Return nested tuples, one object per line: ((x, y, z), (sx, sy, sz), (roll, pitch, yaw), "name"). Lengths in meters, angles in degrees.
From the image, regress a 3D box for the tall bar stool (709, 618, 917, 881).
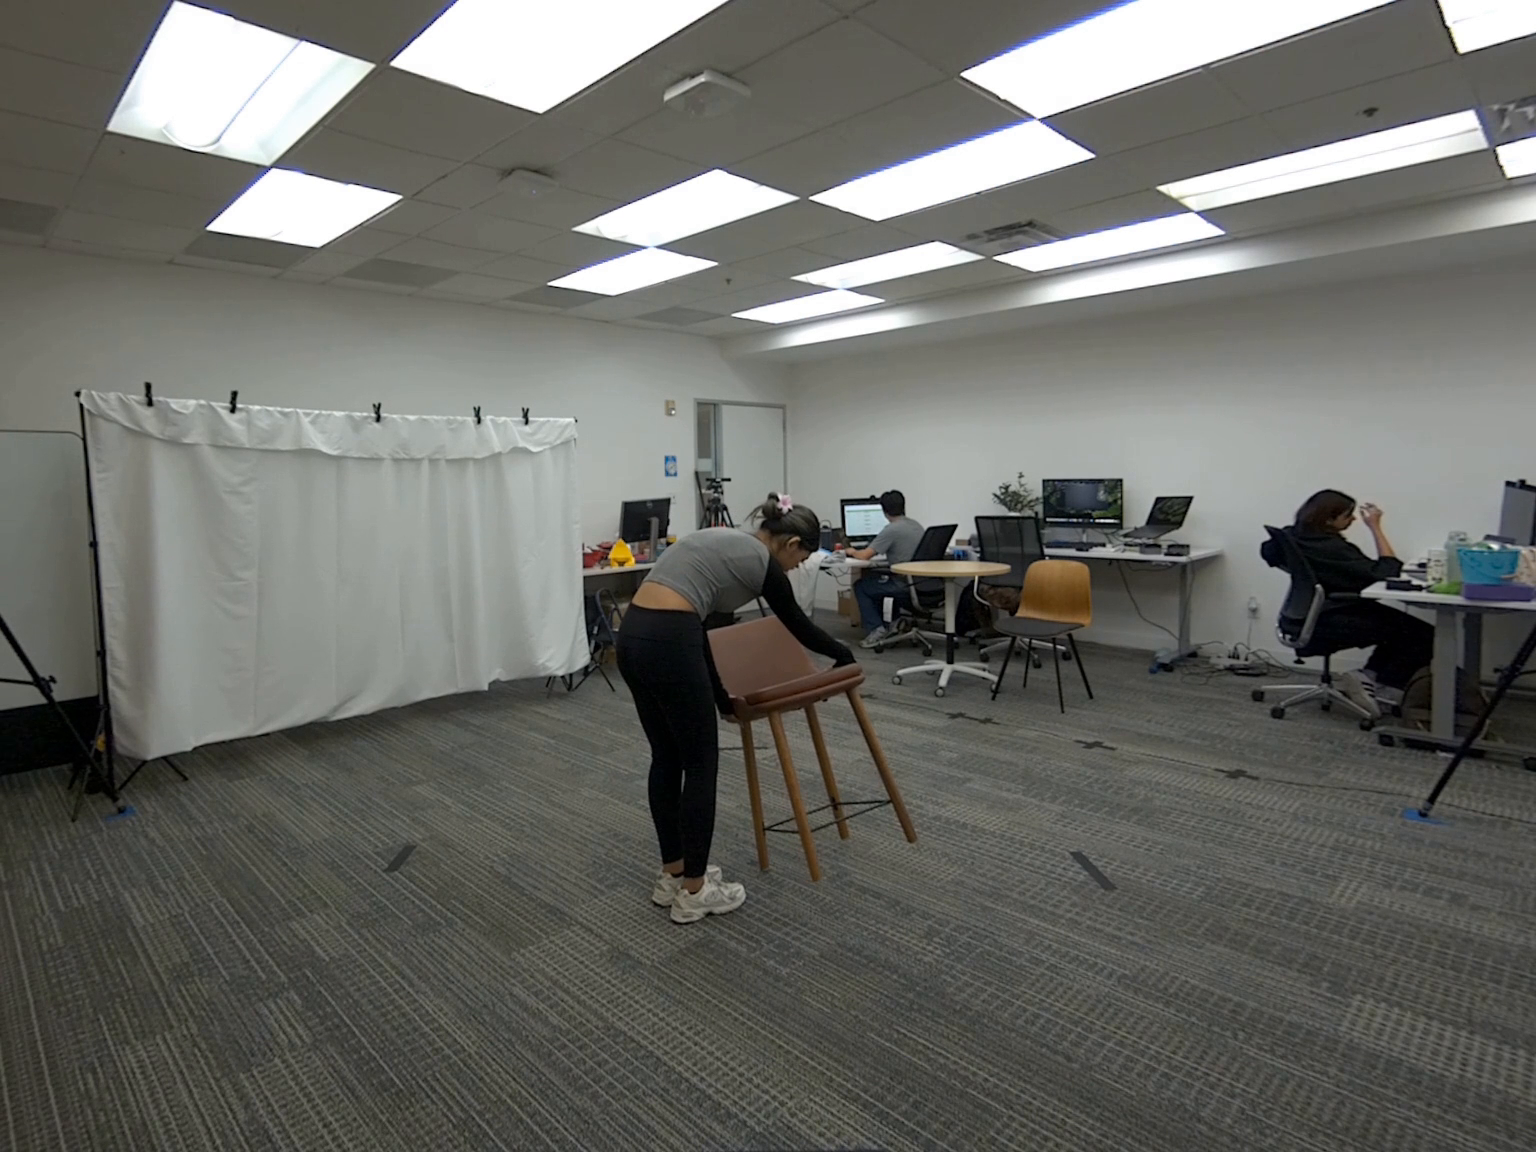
((0.113, 0.556, 3.023), (0.448, 0.901, 0.470), (-10, -12, -27), "tall bar stool")
